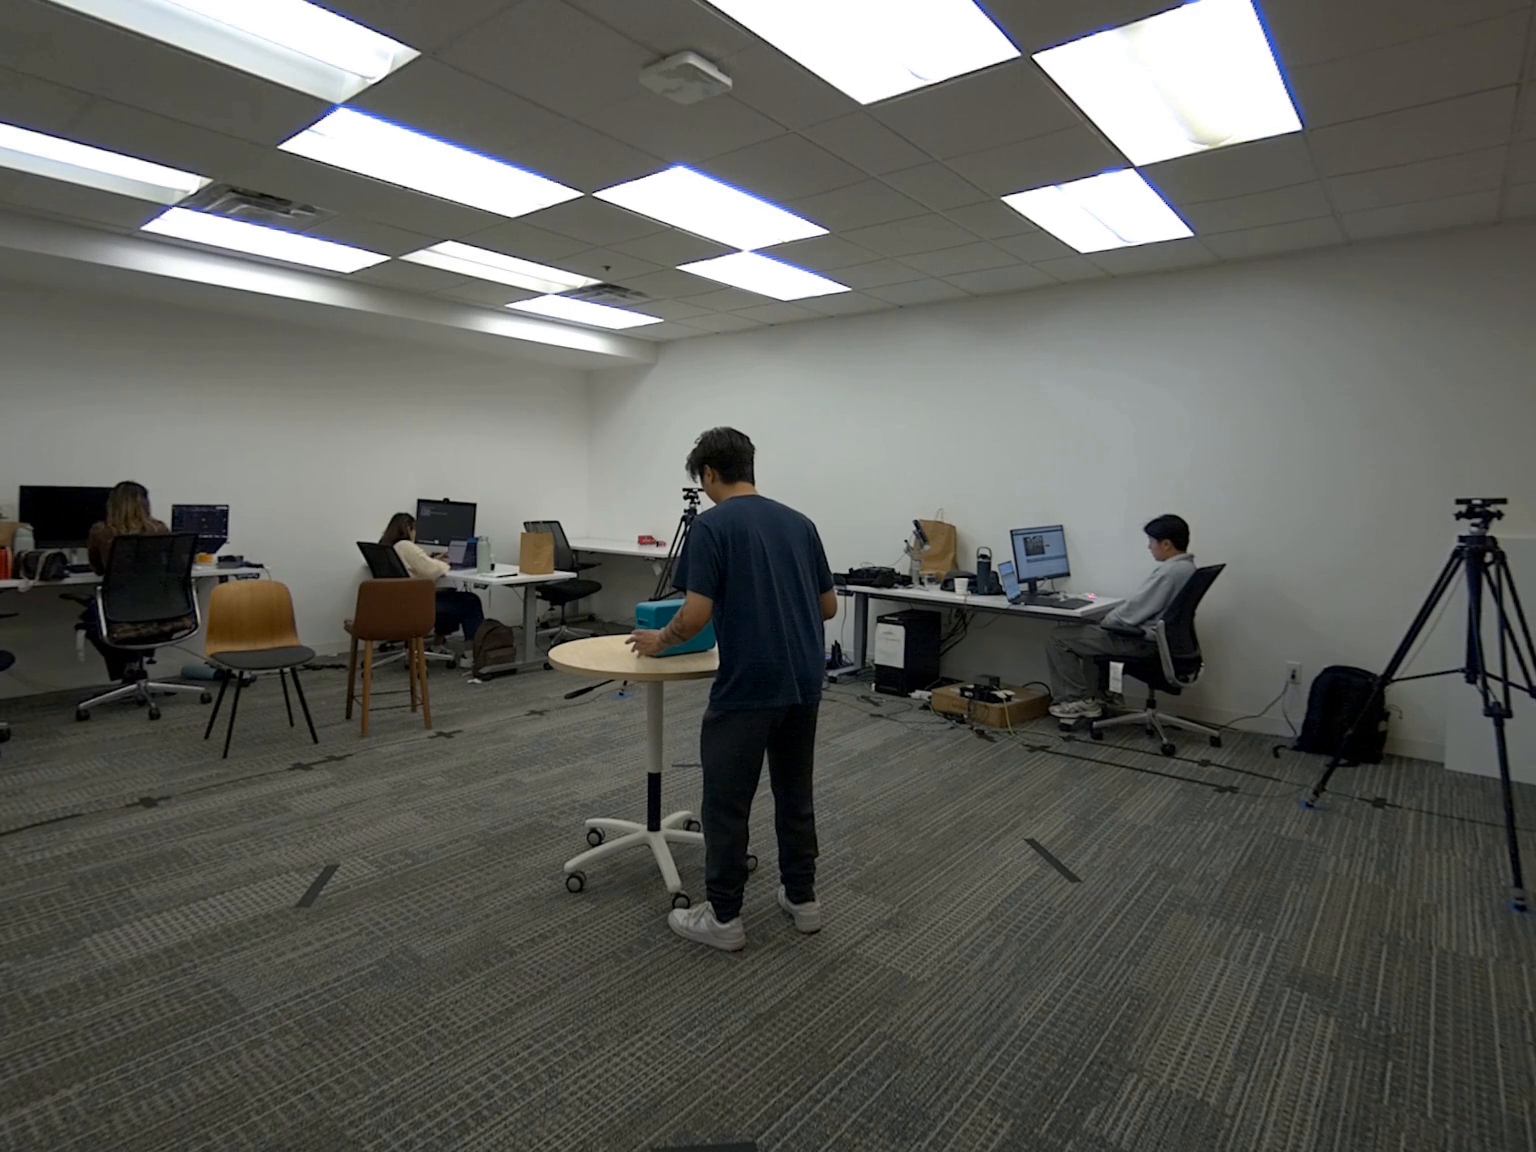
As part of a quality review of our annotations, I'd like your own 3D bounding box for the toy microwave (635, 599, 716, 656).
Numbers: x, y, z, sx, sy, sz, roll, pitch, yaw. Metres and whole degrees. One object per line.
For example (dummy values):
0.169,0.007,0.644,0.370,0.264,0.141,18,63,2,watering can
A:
-0.340,0.178,3.068,0.278,0.183,0.157,-4,5,-40,toy microwave
